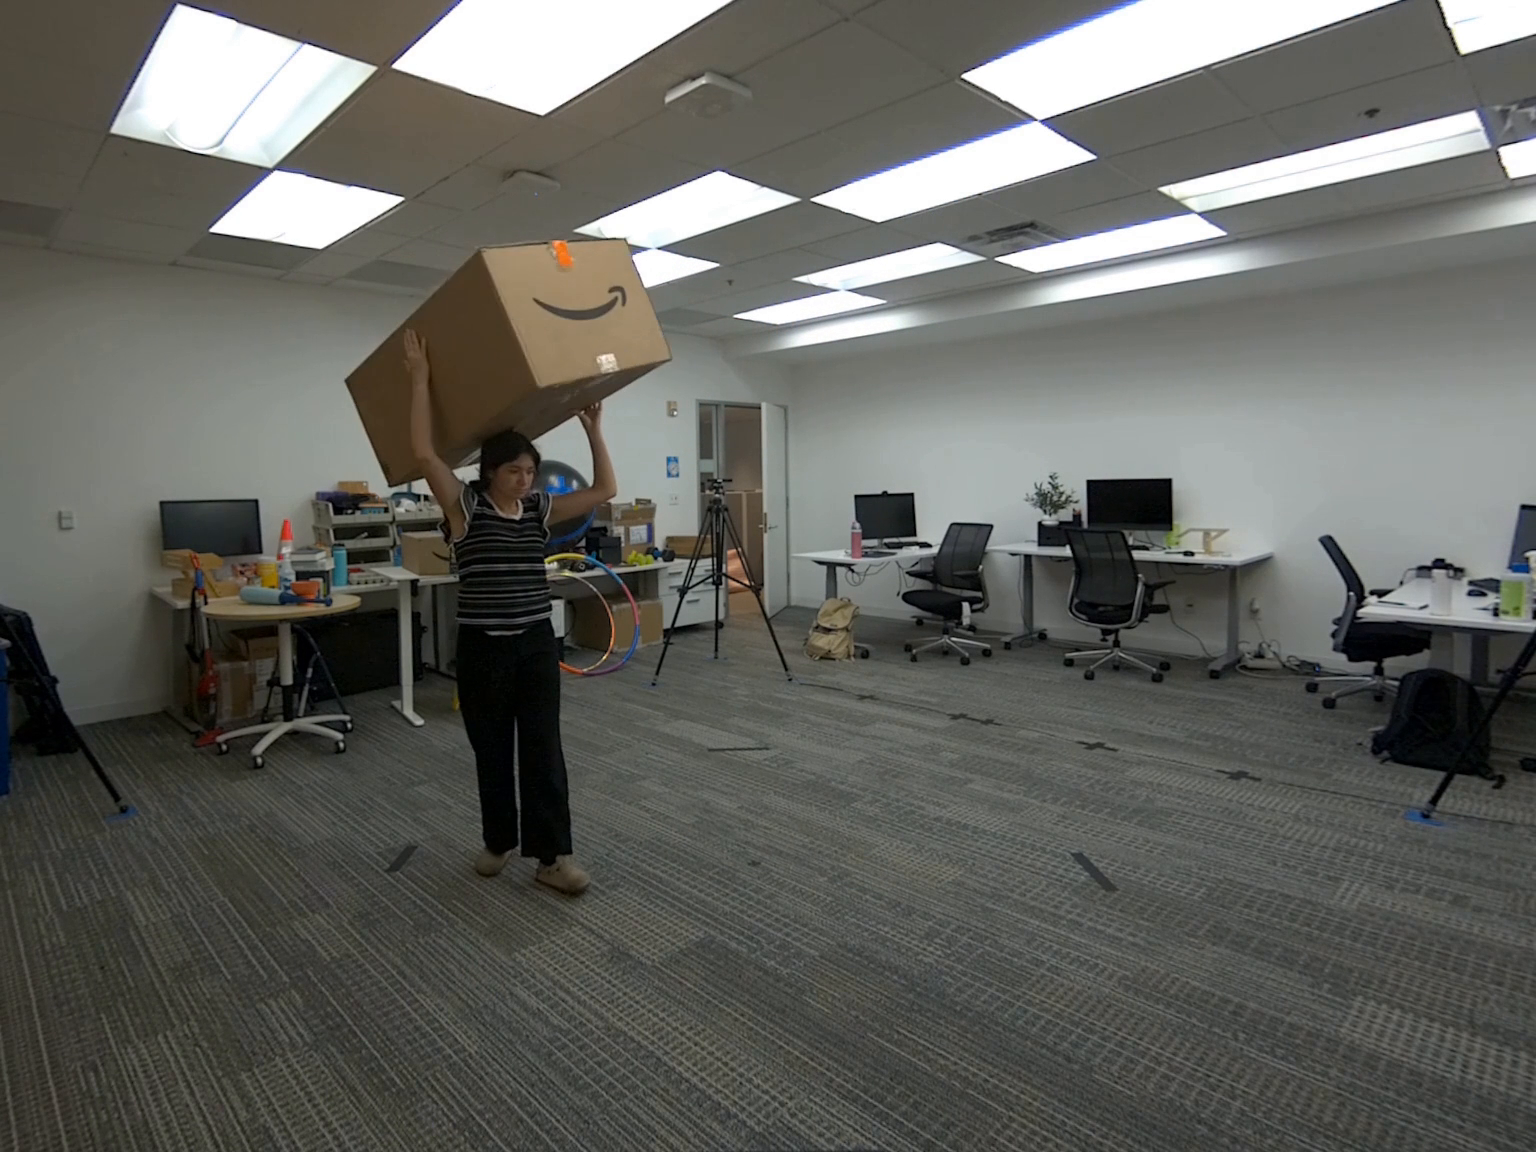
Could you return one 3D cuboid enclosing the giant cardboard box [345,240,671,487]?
[{"bbox_3d":[-0.914,-0.704,2.928,1.046,0.424,0.569,-16,7,43],"label":"giant cardboard box"}]
